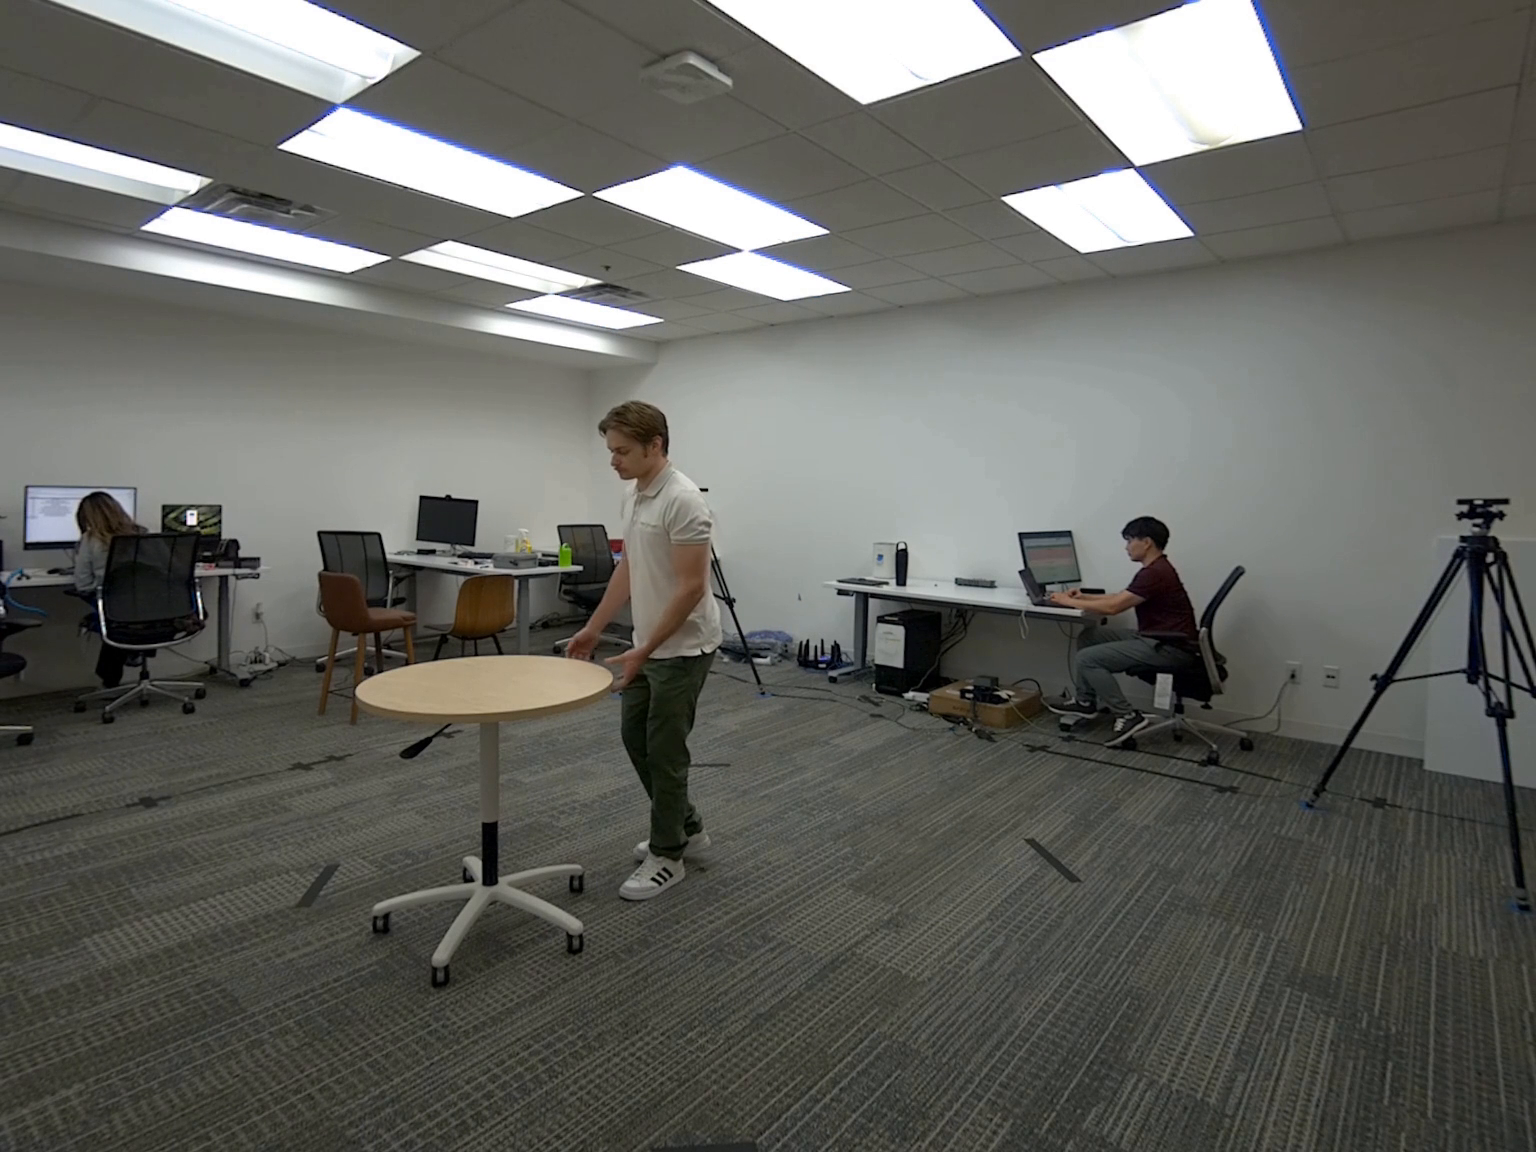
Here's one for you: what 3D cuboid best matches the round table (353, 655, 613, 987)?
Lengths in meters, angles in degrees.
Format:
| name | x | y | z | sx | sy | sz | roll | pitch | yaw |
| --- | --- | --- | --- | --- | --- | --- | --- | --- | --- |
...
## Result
| name | x | y | z | sx | sy | sz | roll | pitch | yaw |
| --- | --- | --- | --- | --- | --- | --- | --- | --- | --- |
| round table | -0.876 | 0.717 | 2.655 | 0.763 | 0.791 | 0.768 | 0 | 5 | -2 |
